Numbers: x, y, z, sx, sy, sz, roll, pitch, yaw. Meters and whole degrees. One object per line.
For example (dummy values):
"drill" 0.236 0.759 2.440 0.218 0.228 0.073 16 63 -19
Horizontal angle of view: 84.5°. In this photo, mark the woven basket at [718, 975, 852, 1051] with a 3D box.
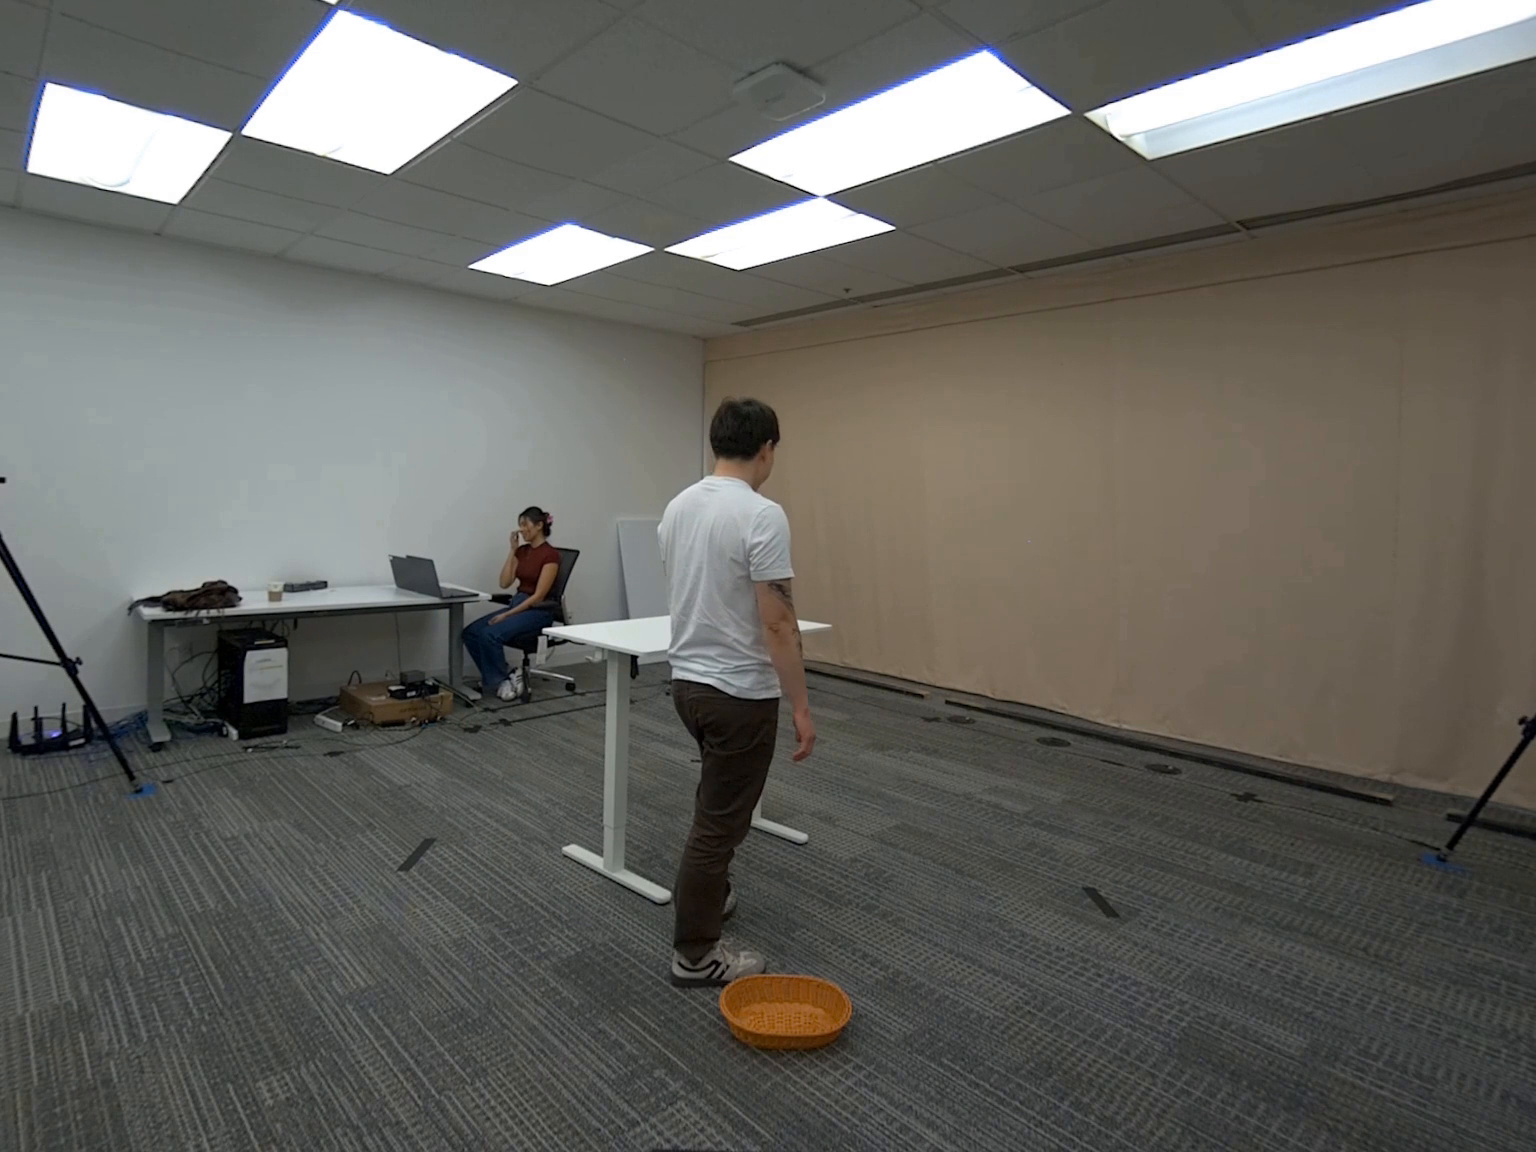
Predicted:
"woven basket" 0.039 1.152 2.210 0.351 0.073 0.253 1 7 1
